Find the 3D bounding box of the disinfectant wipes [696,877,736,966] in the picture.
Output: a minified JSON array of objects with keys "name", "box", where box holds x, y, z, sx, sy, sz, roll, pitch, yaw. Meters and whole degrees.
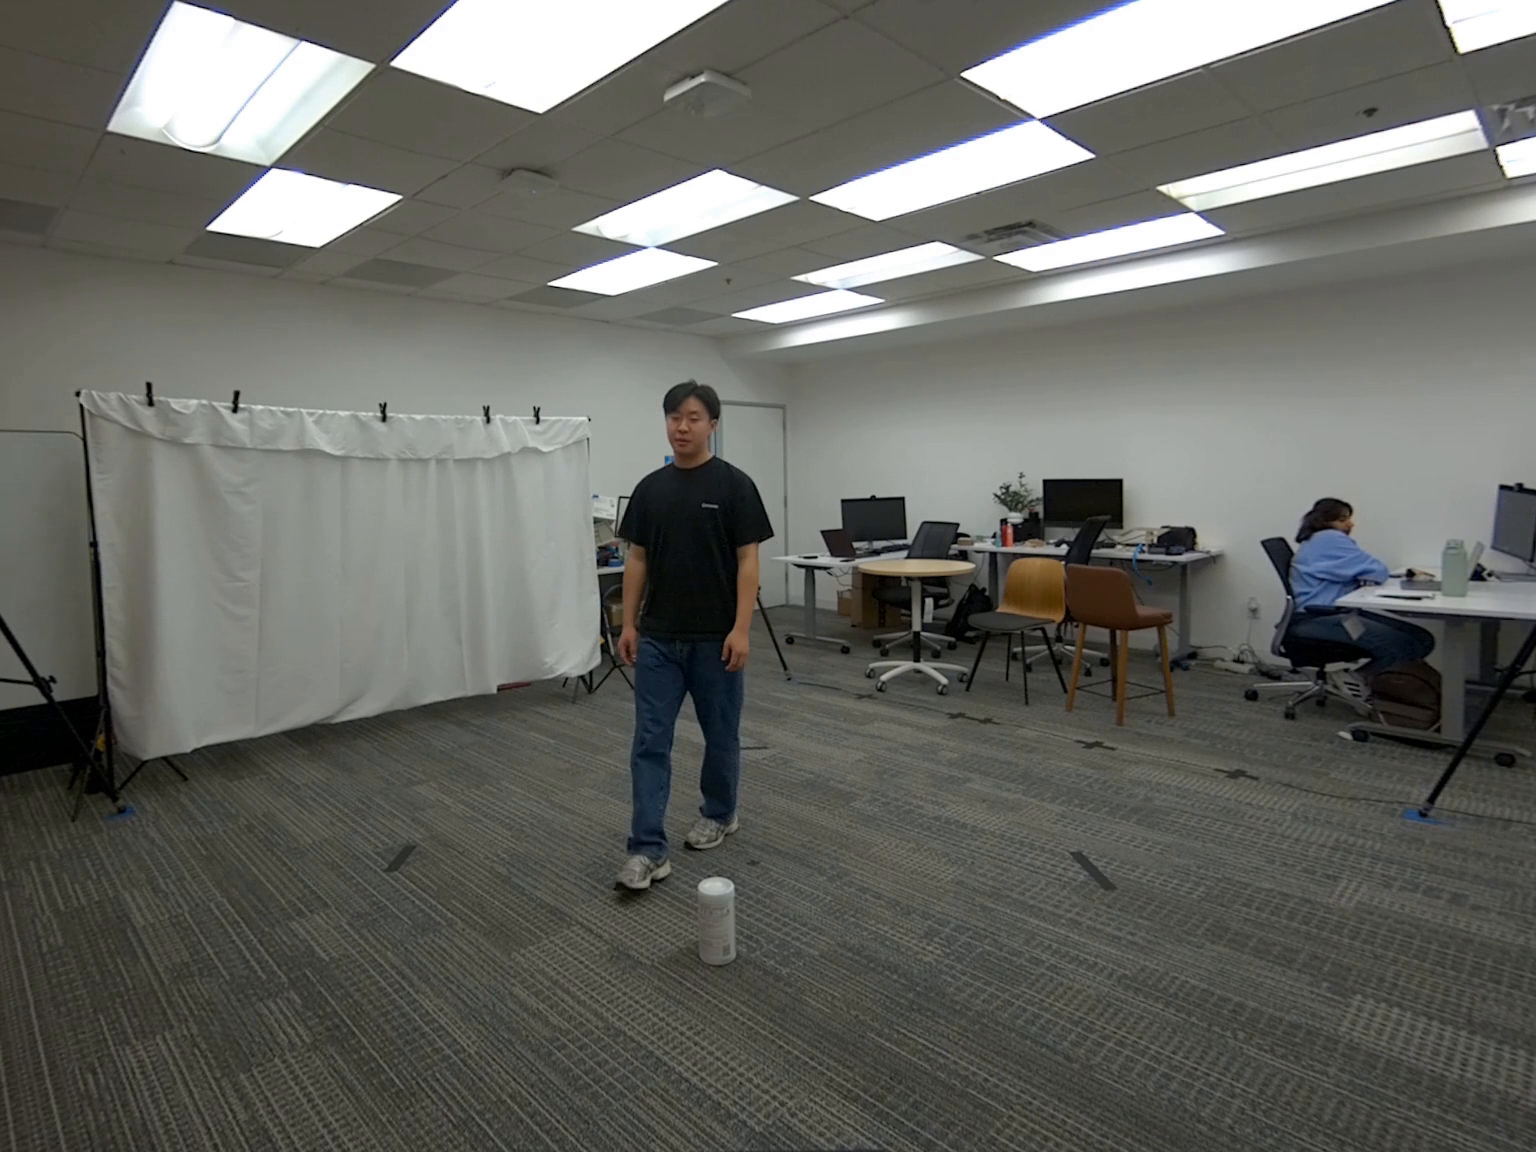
[{"name":"disinfectant wipes","box":[-0.146,1.014,2.498,0.118,0.216,0.118,-2,6,-1]}]
